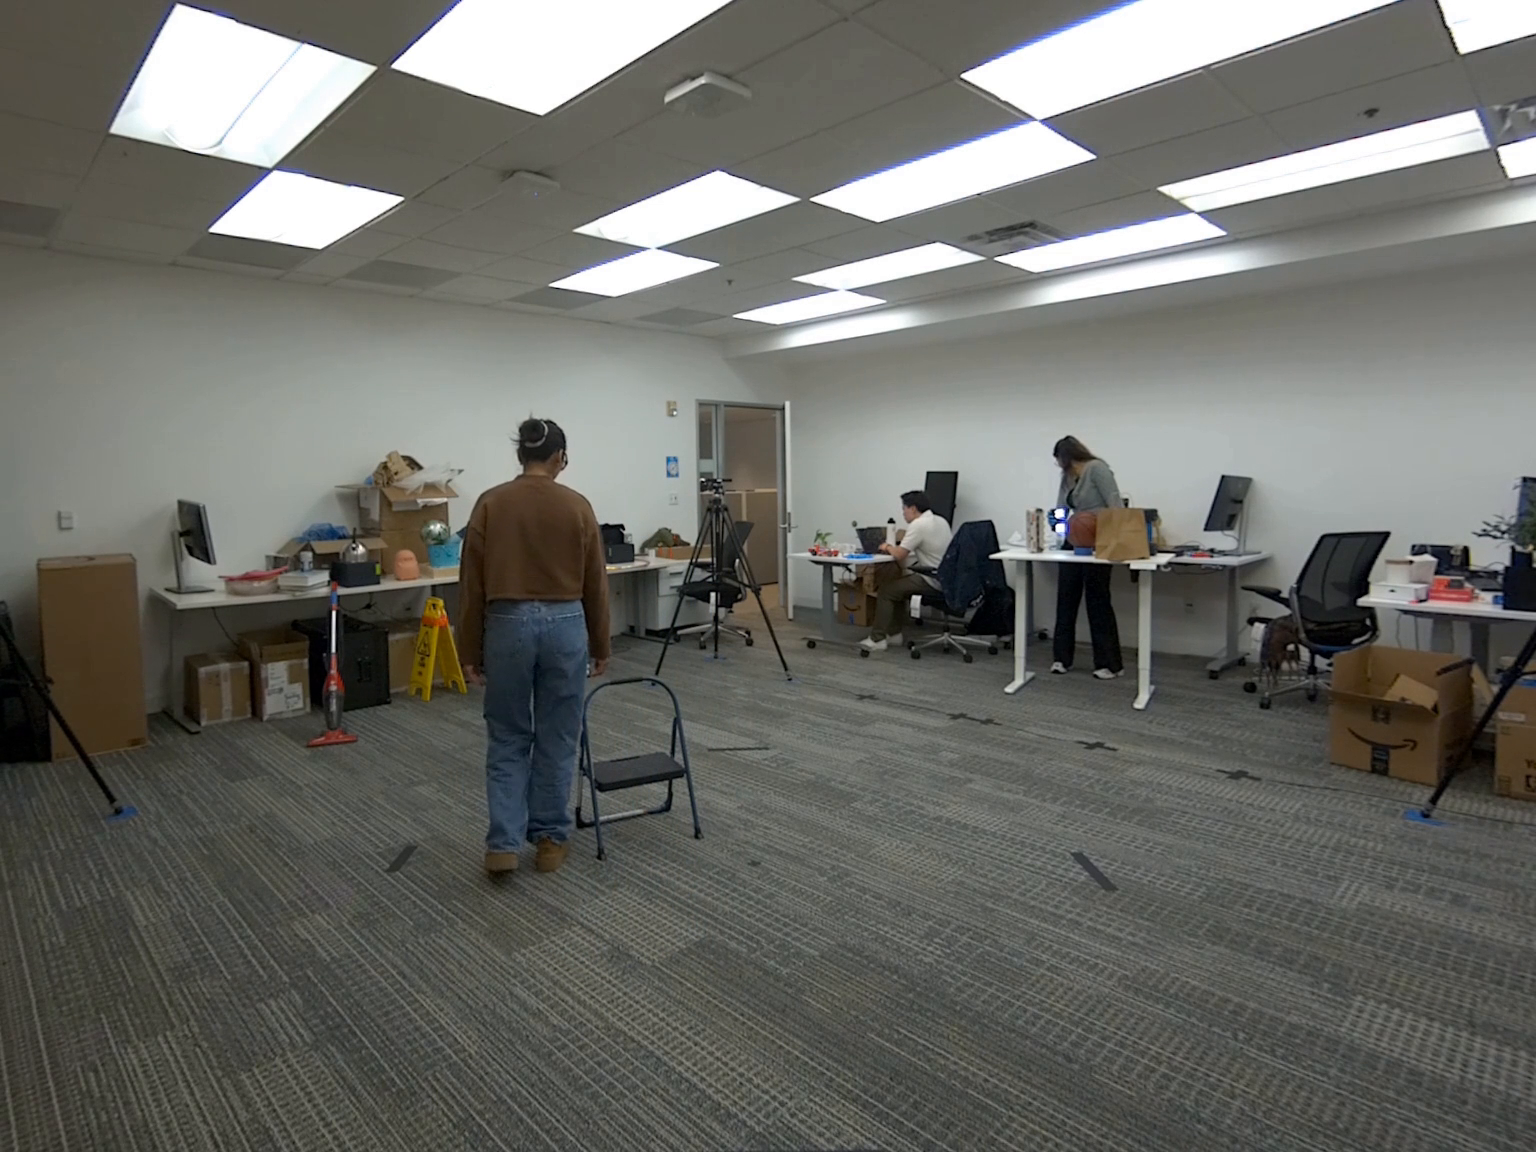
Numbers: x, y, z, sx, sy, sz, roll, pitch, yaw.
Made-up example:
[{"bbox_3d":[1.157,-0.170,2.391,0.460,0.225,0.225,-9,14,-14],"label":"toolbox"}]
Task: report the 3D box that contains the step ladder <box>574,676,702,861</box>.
[{"bbox_3d":[-0.523,0.718,3.386,0.421,0.604,0.358,-3,4,-28],"label":"step ladder"}]
